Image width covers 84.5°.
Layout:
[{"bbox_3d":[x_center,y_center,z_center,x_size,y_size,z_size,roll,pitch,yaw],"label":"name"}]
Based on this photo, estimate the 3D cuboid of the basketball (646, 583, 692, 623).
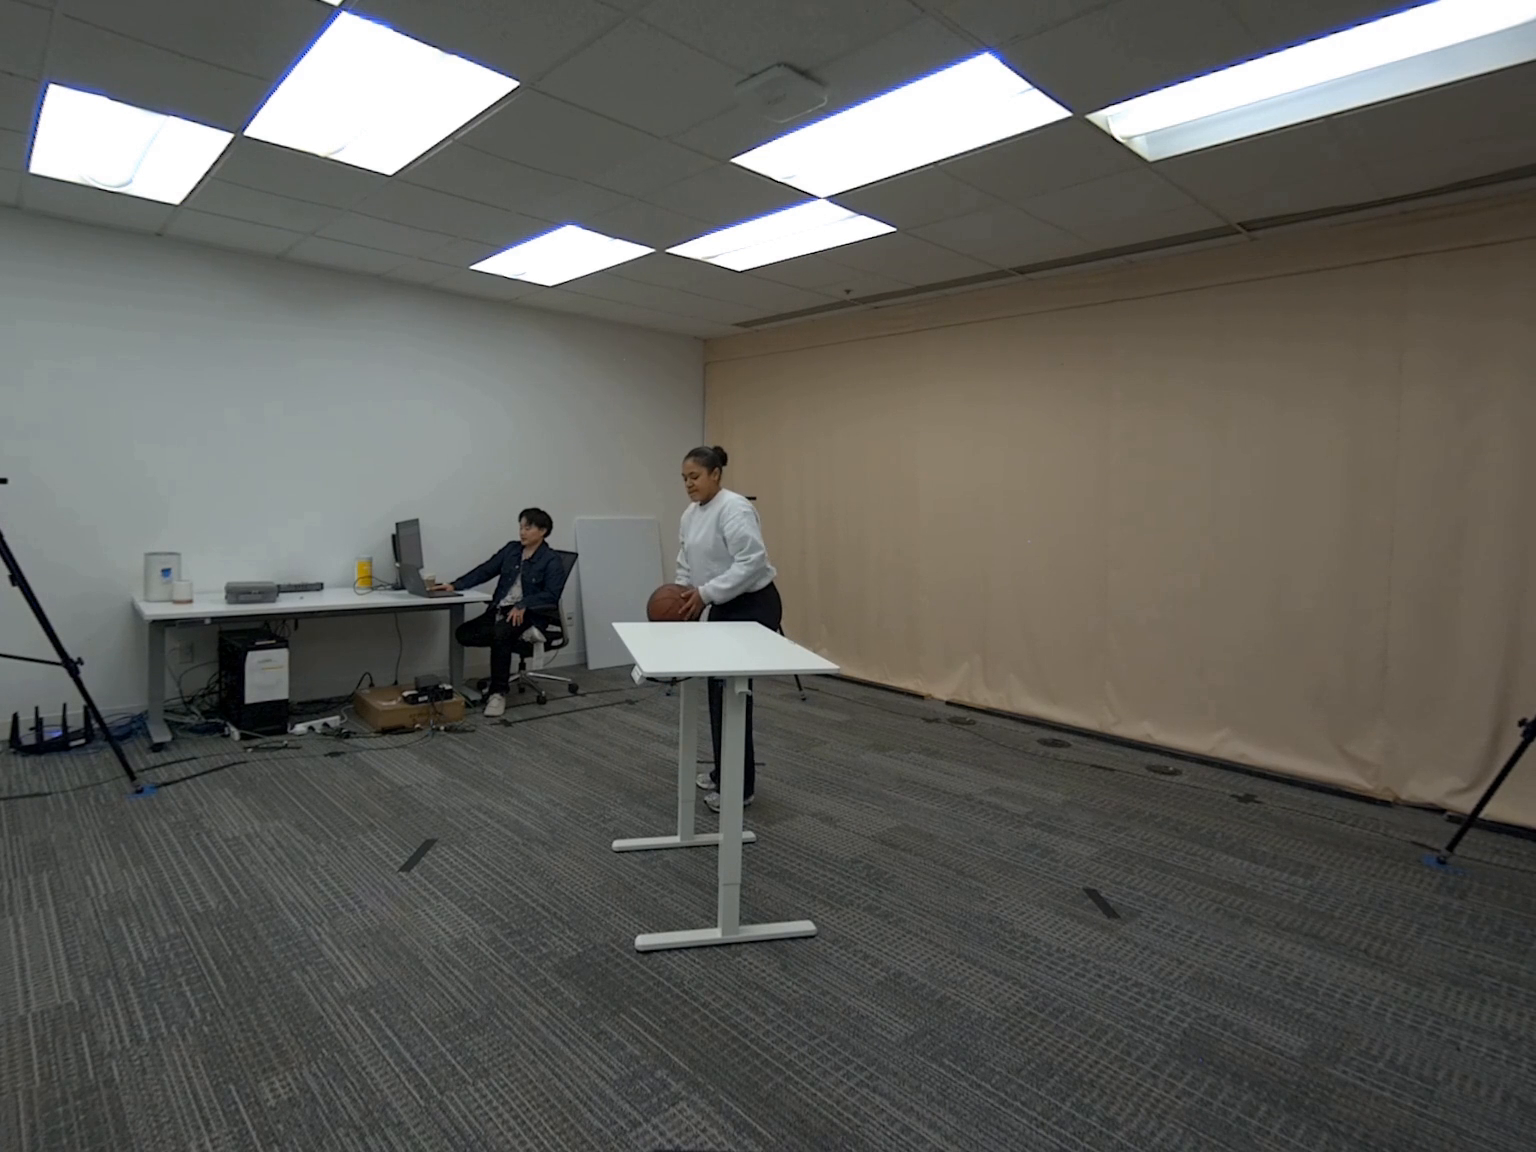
[{"bbox_3d":[-0.432,0.158,3.783,0.236,0.235,0.237,1,4,-1],"label":"basketball"}]
